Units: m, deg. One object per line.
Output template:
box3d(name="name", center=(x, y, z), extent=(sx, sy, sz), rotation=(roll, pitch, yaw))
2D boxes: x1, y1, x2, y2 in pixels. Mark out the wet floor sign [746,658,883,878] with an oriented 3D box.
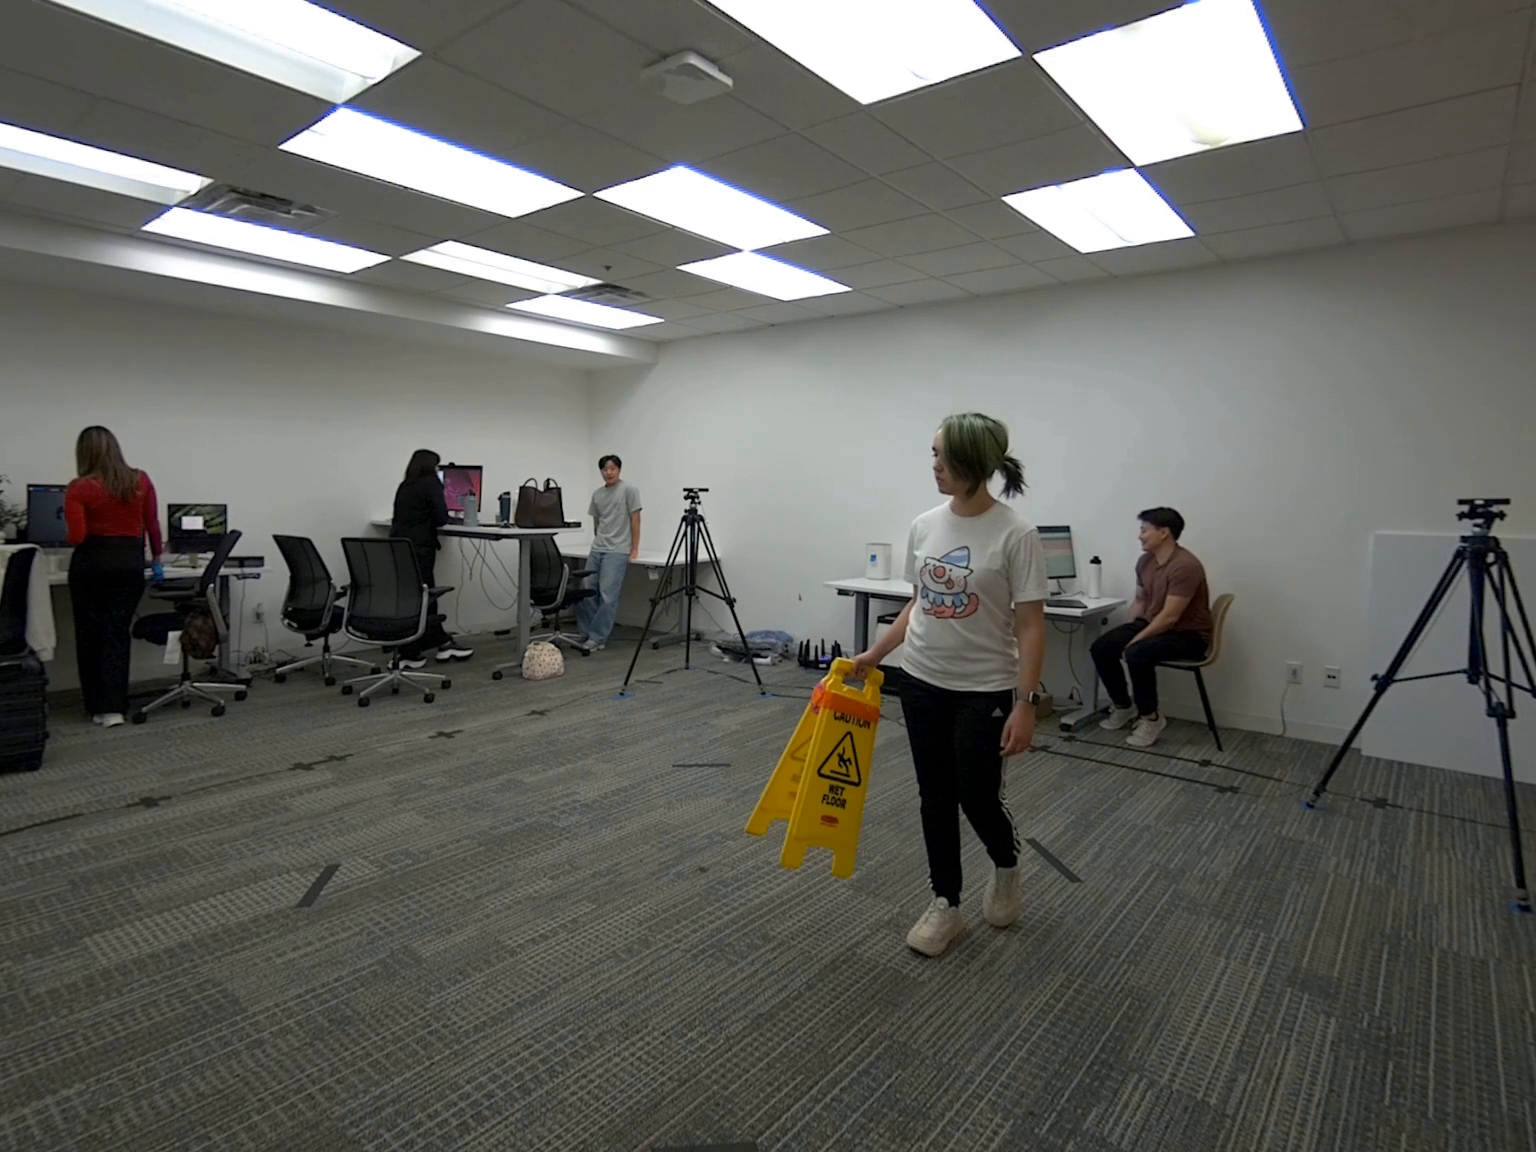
box3d(name="wet floor sign", center=(0.194, 0.597, 2.765), extent=(0.273, 0.647, 0.298), rotation=(19, -3, -27))
